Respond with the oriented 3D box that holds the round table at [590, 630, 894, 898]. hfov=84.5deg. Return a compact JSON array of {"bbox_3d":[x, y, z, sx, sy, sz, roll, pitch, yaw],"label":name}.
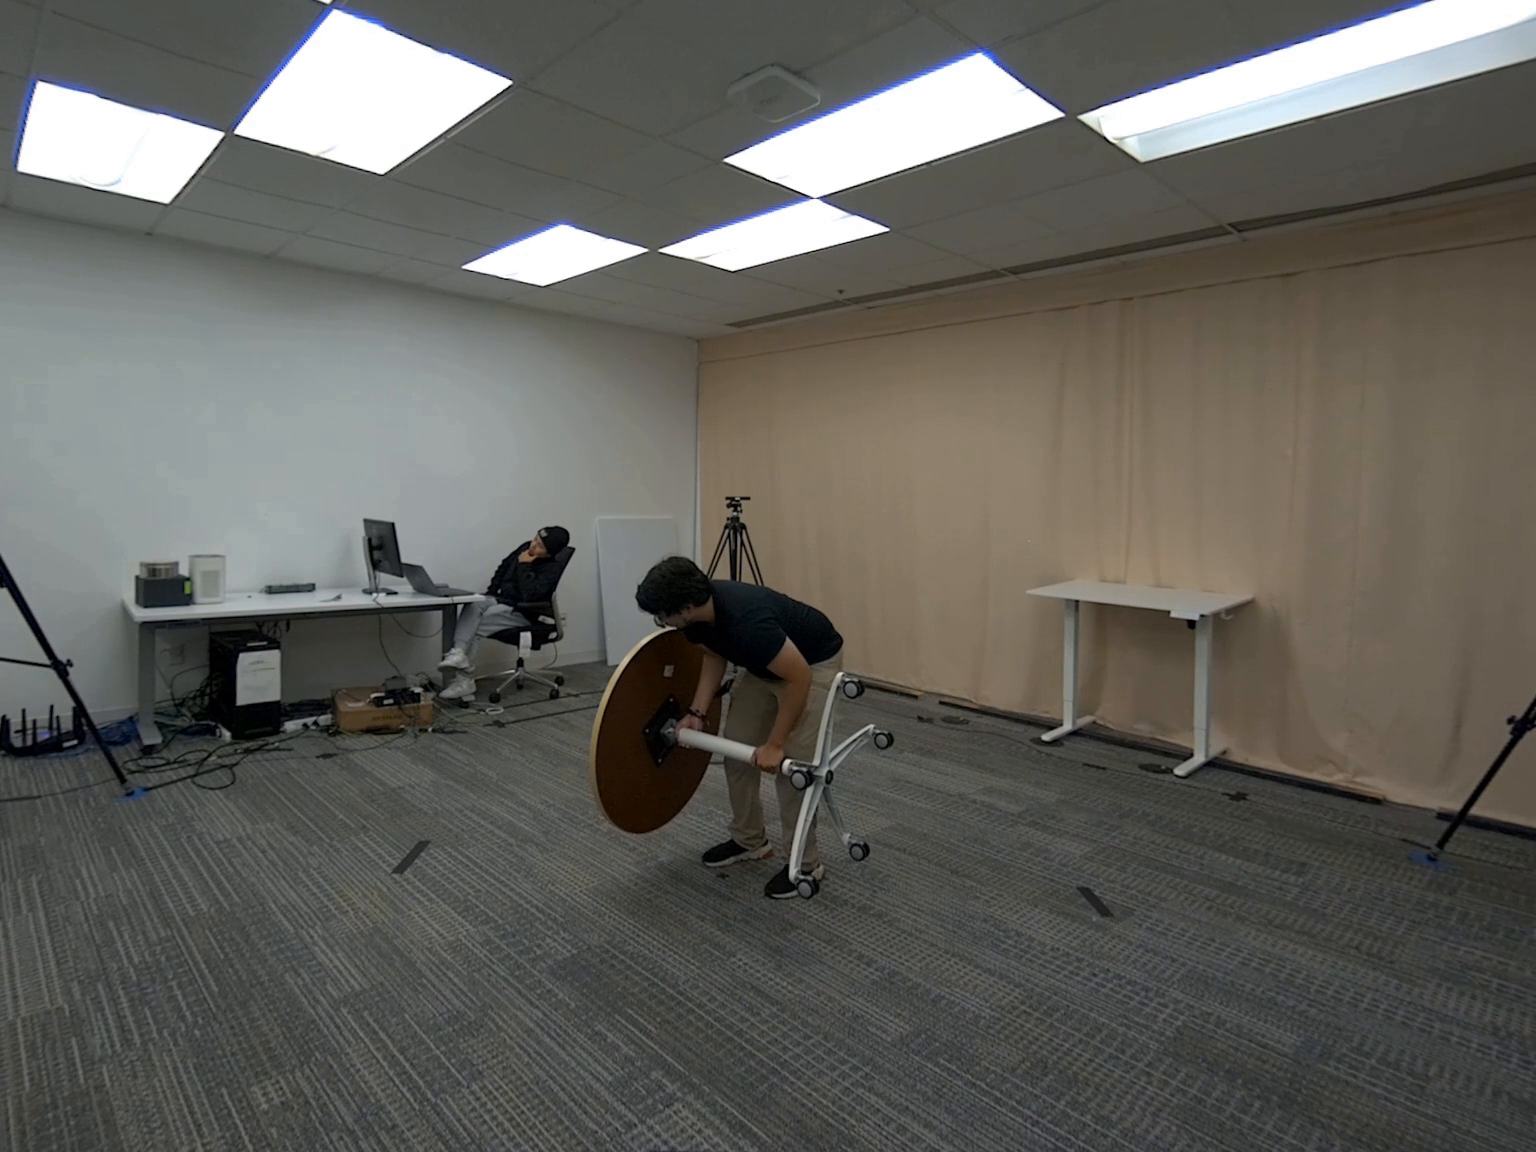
[{"bbox_3d":[-0.077,0.626,2.945,0.805,0.782,0.769,7,7,32],"label":"round table"}]
